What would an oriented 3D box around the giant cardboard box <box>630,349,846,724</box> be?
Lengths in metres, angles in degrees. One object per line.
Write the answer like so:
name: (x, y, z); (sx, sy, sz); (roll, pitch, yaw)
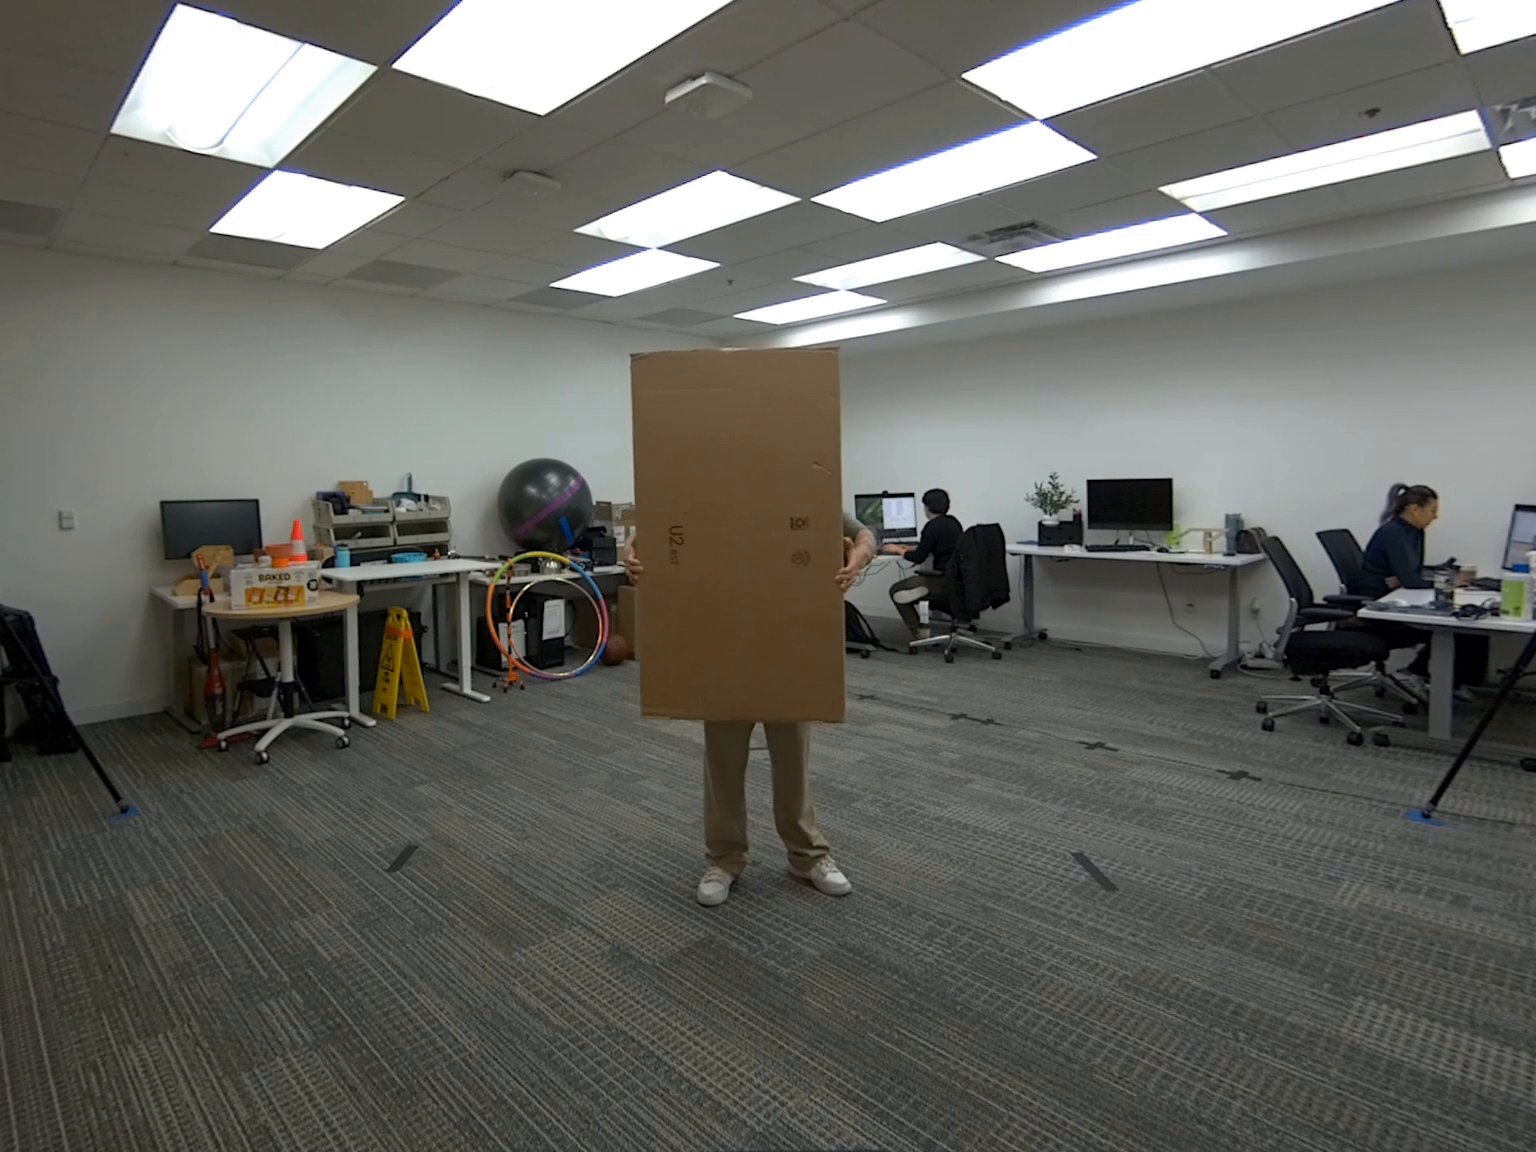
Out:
giant cardboard box: (-0.062, -0.134, 2.530); (0.581, 1.023, 0.425); (-1, 3, 5)
